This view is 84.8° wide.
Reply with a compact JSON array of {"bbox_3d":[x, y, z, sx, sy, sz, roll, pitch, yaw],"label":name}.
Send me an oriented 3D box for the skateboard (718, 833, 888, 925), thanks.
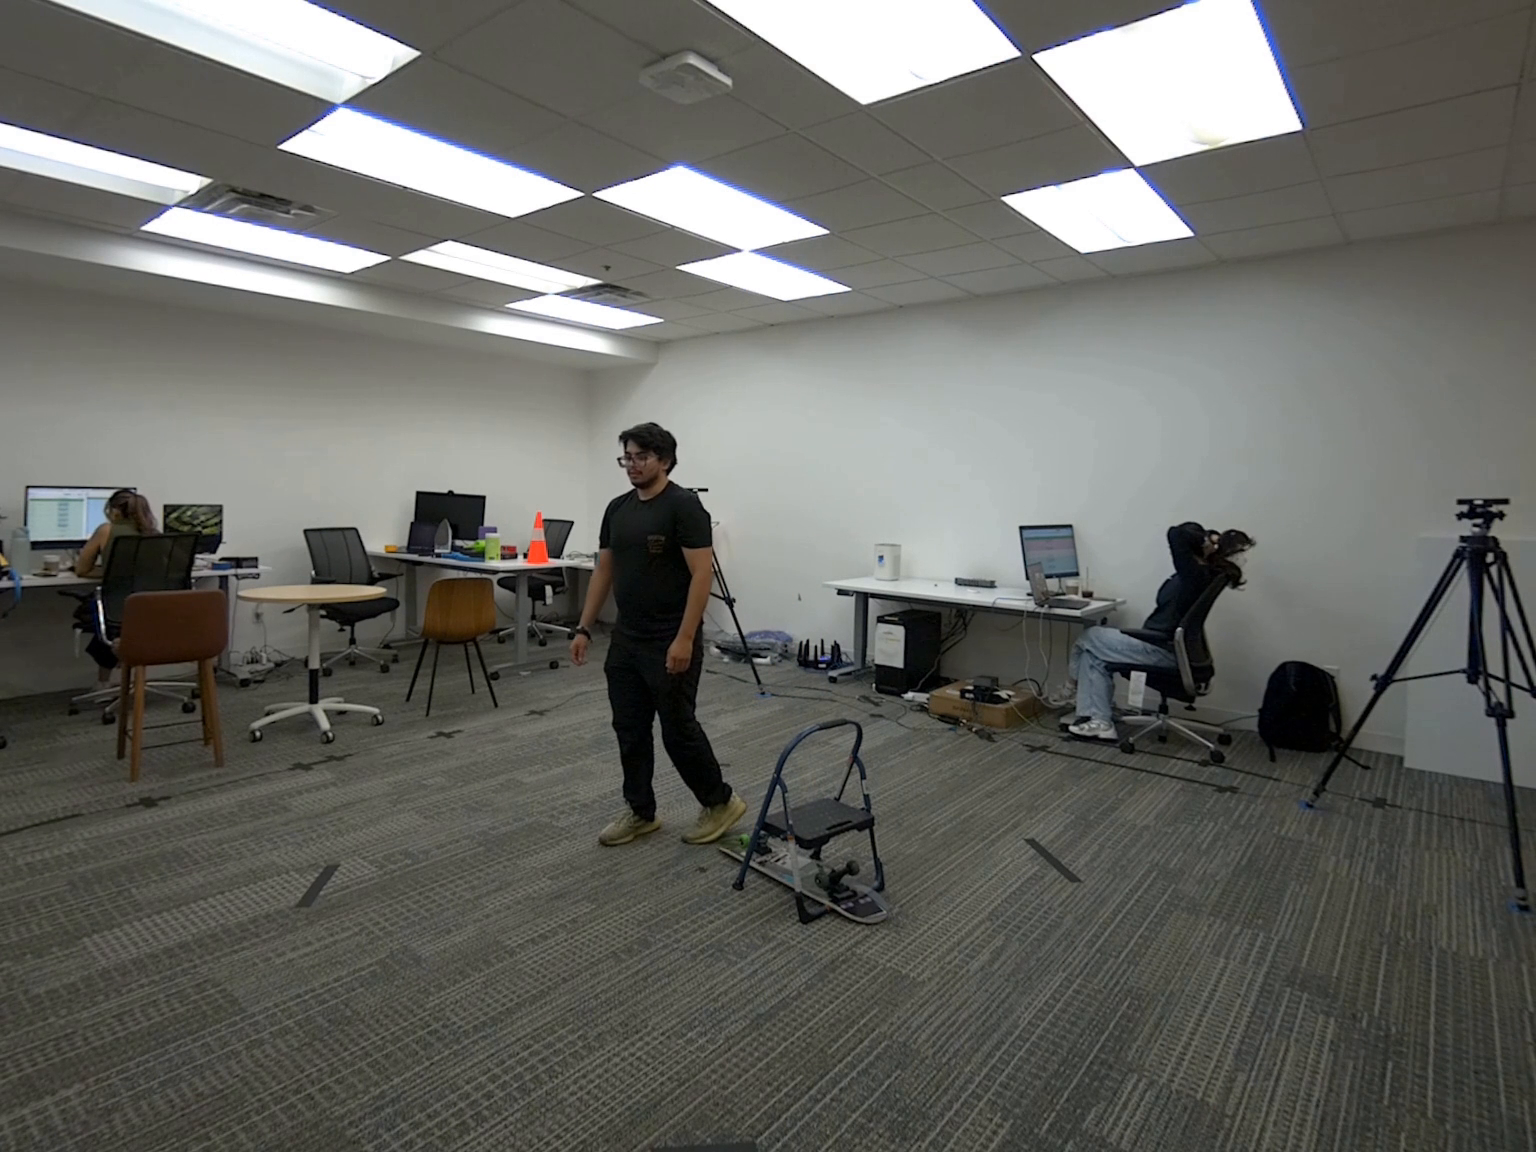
[{"bbox_3d":[0.103,1.031,3.063,0.188,0.110,0.812,-6,8,-42],"label":"skateboard"}]
